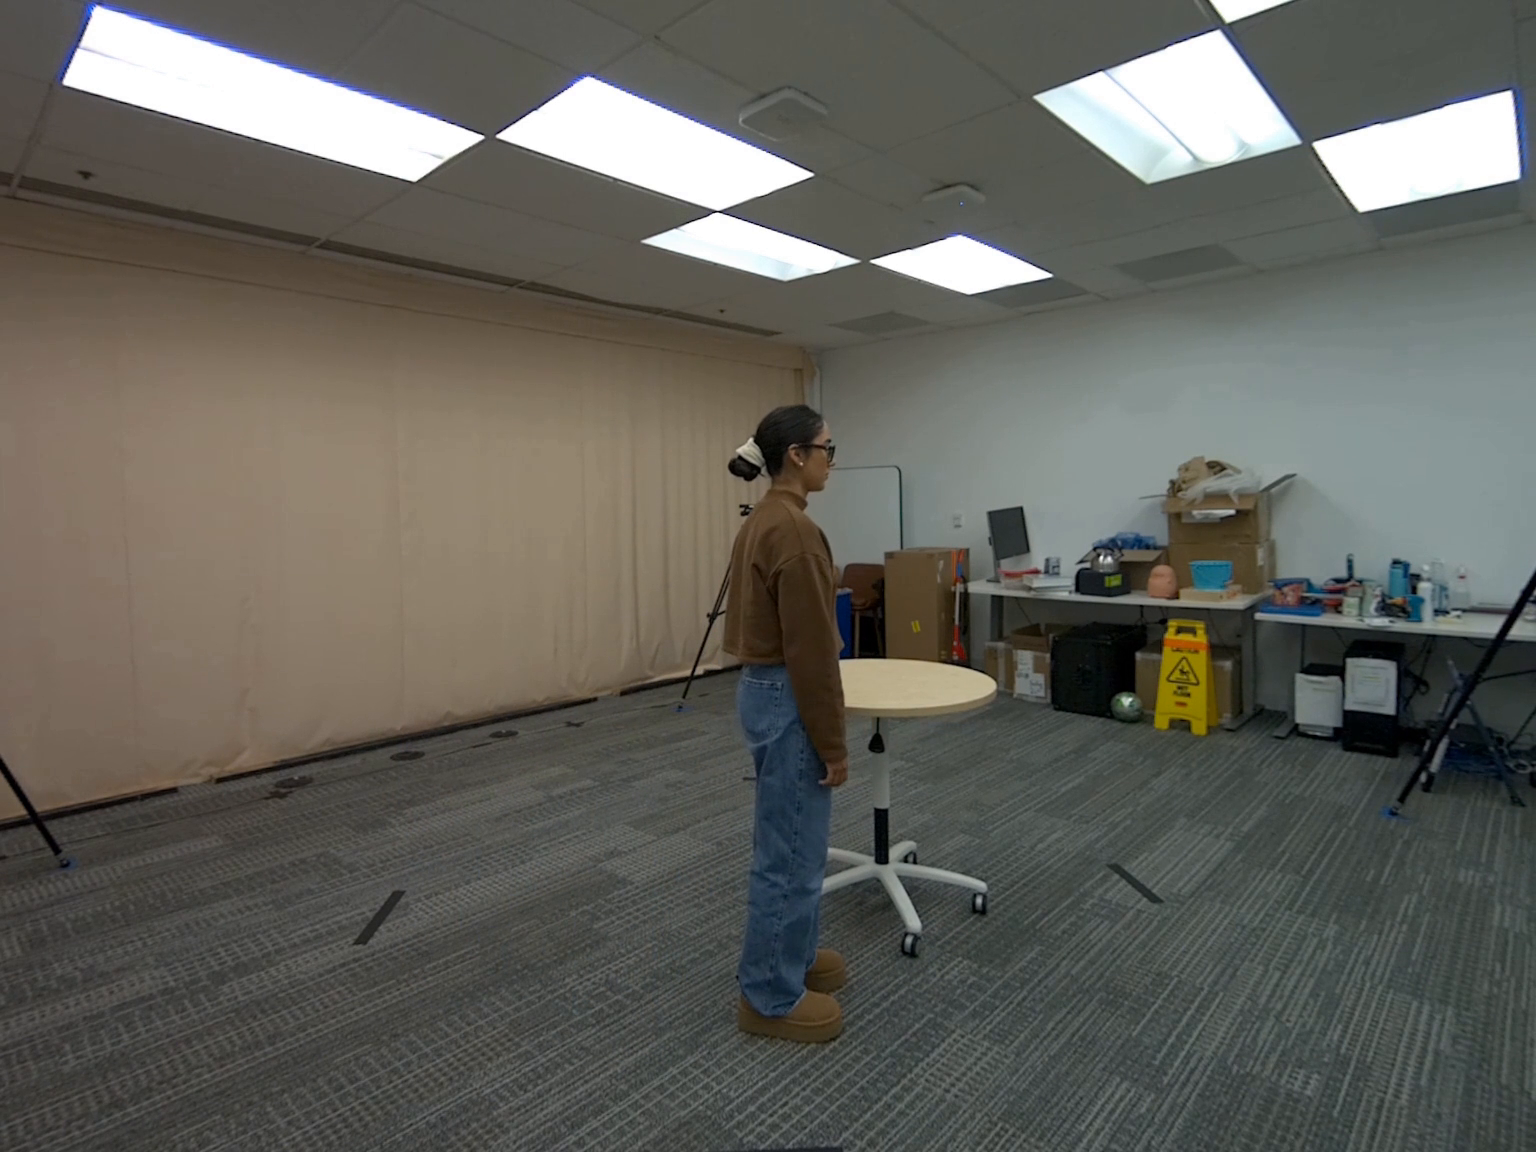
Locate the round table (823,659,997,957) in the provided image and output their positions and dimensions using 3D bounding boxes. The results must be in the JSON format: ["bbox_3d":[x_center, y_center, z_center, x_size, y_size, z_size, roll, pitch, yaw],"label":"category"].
[{"bbox_3d":[0.401,0.752,2.906,0.763,0.792,0.767,-1,4,-2],"label":"round table"}]
